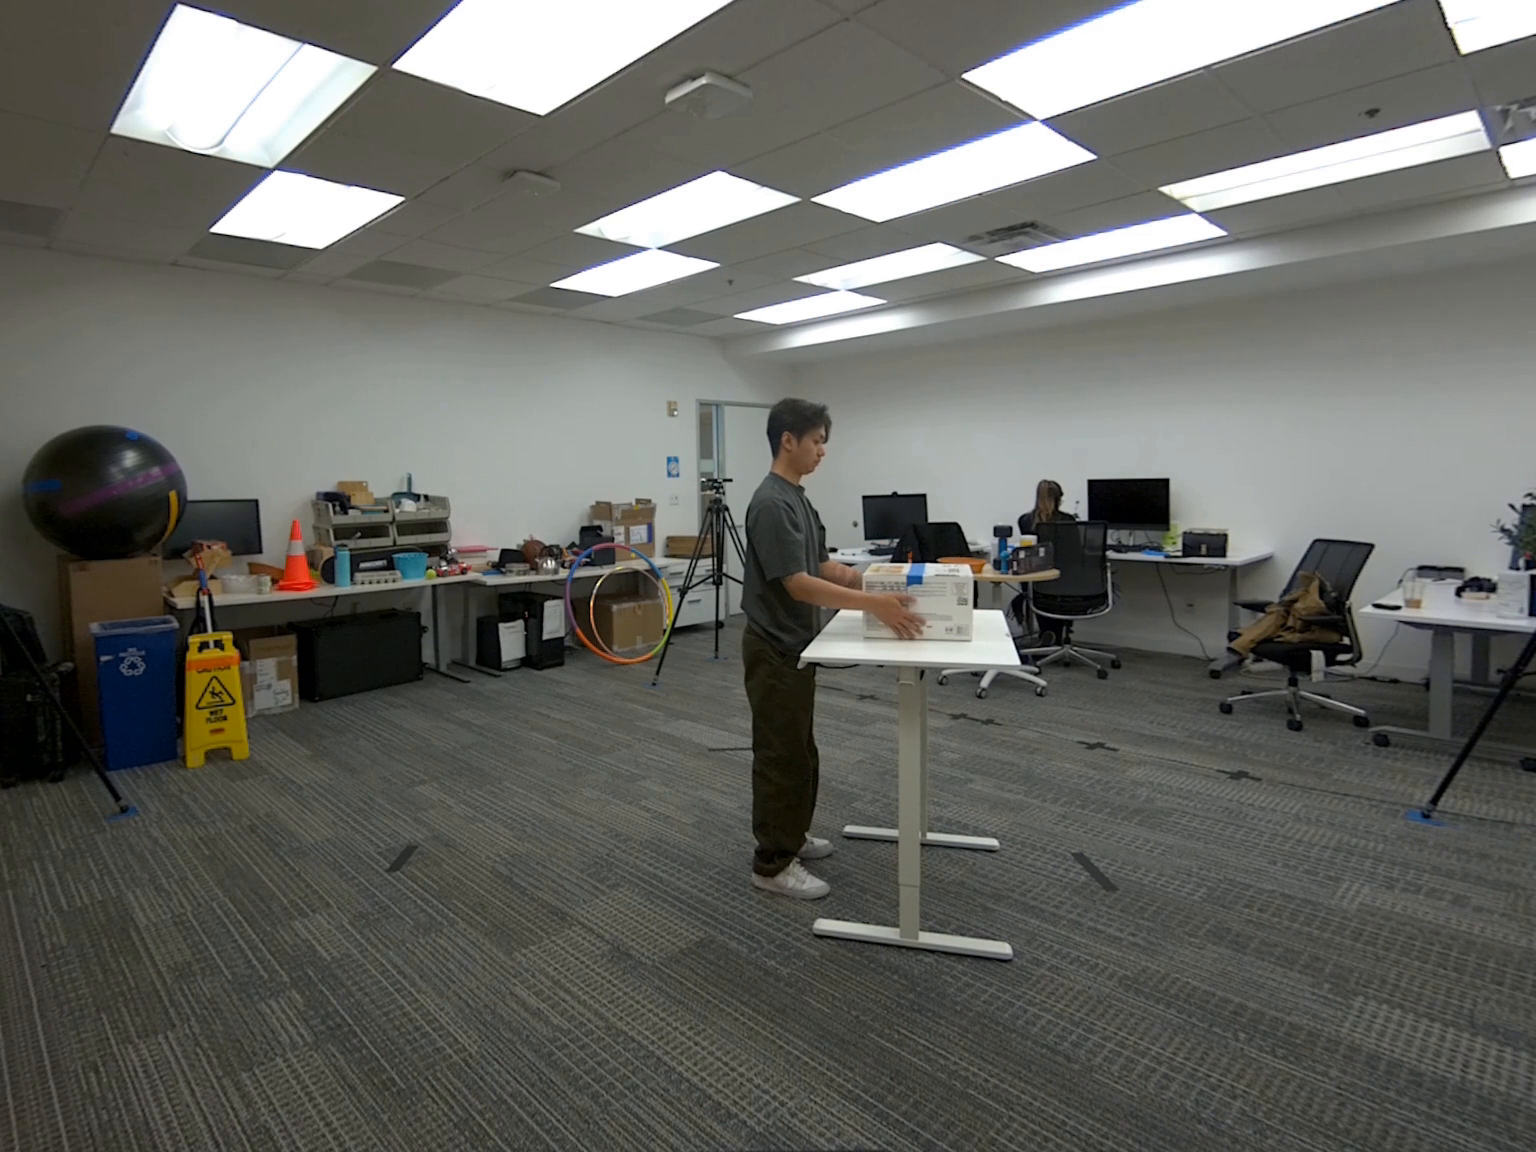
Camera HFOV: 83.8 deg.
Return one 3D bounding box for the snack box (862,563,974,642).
[{"bbox_3d":[0.503,0.079,2.865,0.345,0.205,0.401,0,5,13],"label":"snack box"}]
